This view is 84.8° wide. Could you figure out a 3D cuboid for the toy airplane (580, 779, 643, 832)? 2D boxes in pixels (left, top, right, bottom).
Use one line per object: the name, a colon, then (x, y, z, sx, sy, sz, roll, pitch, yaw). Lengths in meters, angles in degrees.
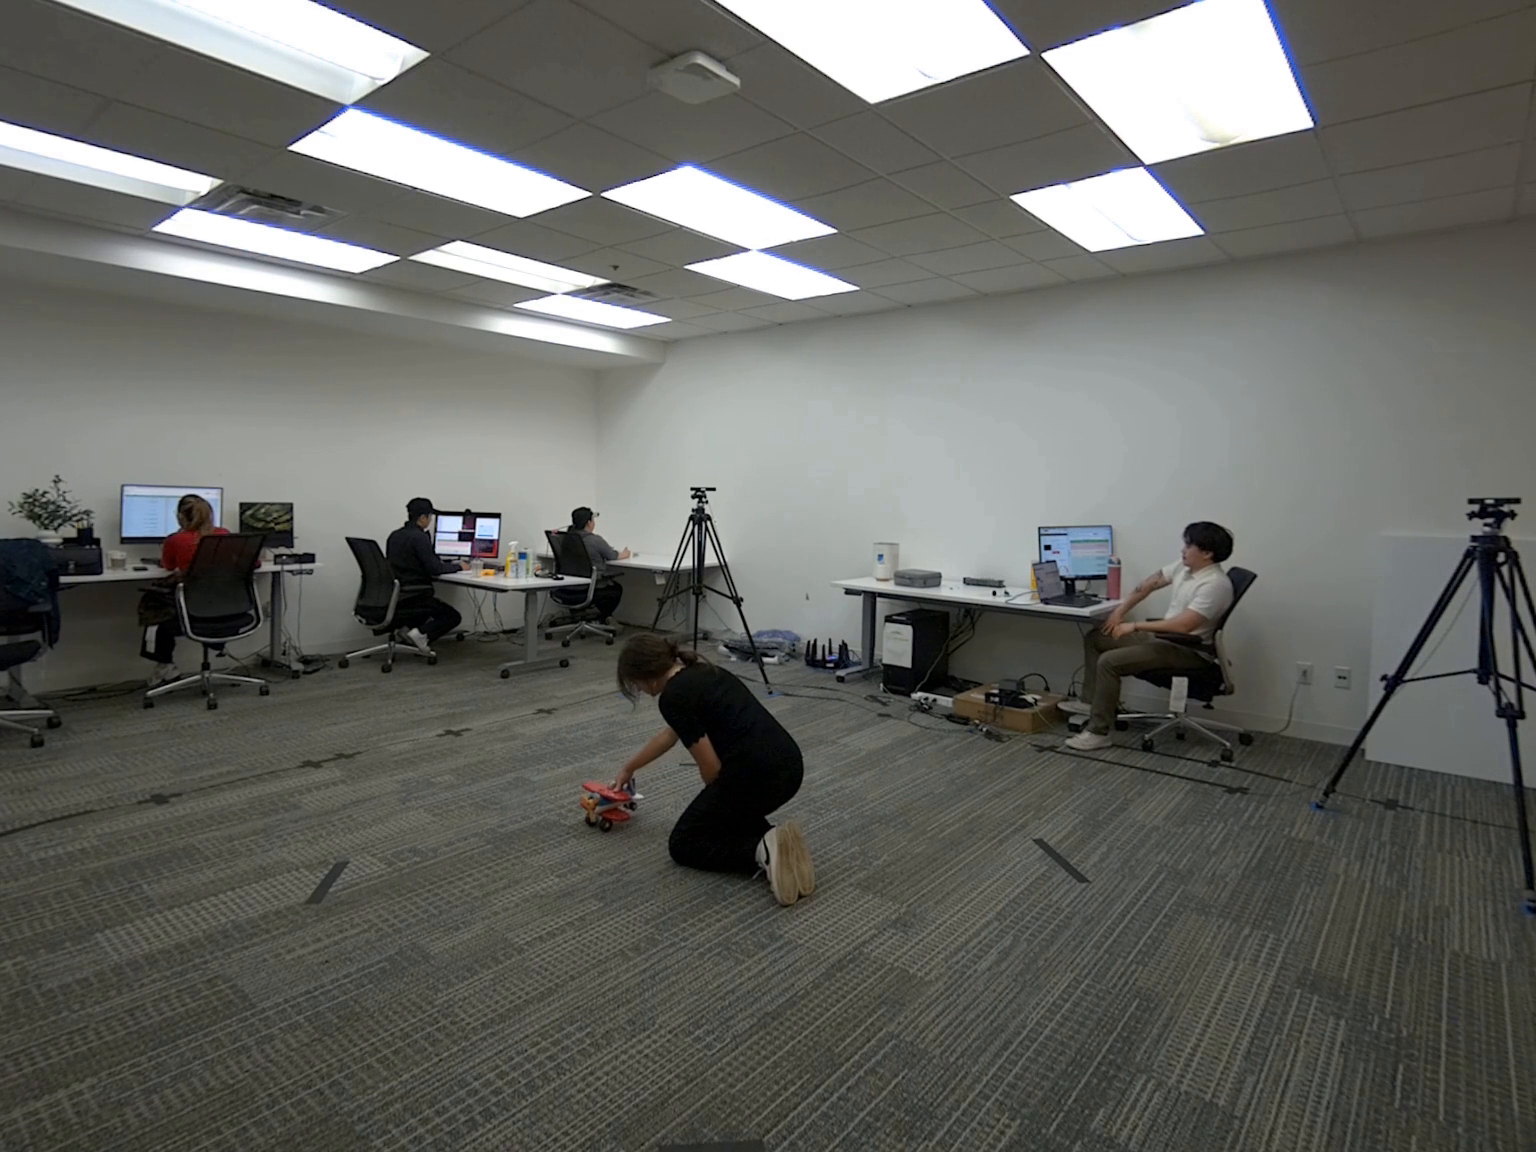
toy airplane: (-0.676, 0.933, 3.520, 0.254, 0.154, 0.259, -3, 14, 11)
